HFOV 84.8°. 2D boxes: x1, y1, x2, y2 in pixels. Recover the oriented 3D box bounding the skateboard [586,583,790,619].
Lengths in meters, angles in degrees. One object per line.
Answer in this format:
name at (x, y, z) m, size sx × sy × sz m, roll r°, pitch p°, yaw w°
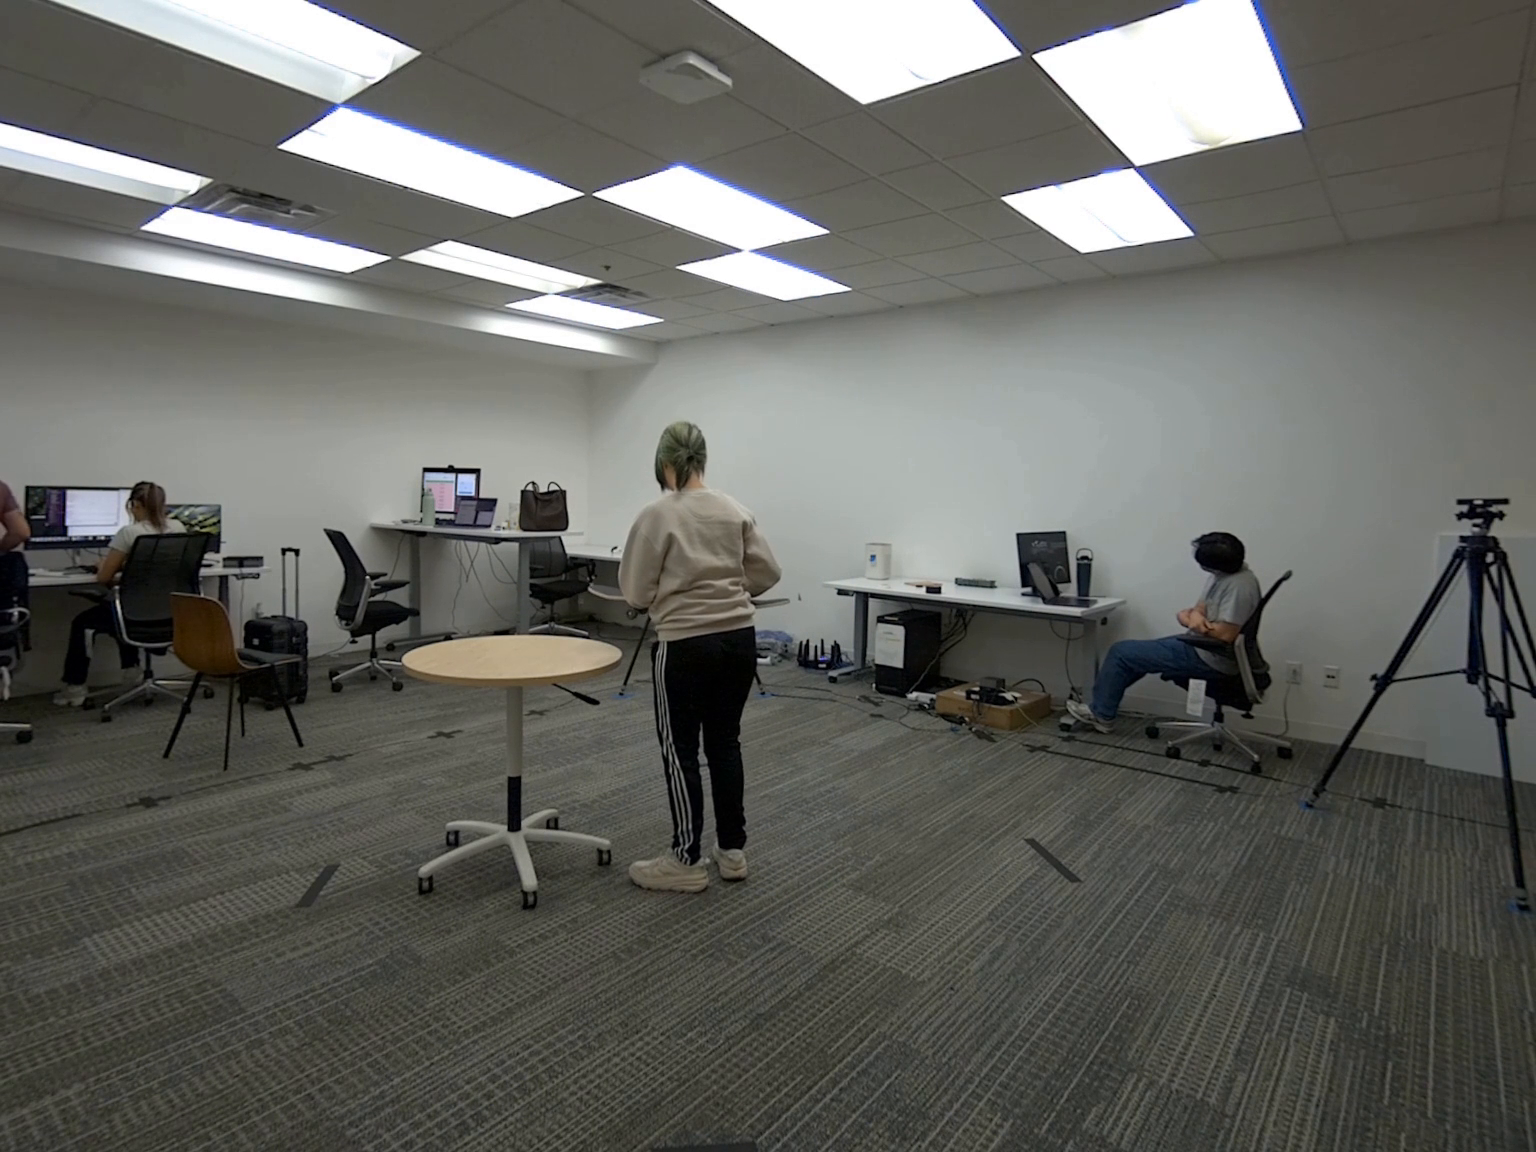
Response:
skateboard at (-0.320, 0.122, 3.276) m, size 0.790 × 0.110 × 0.193 m, roll 2°, pitch 6°, yaw 5°
